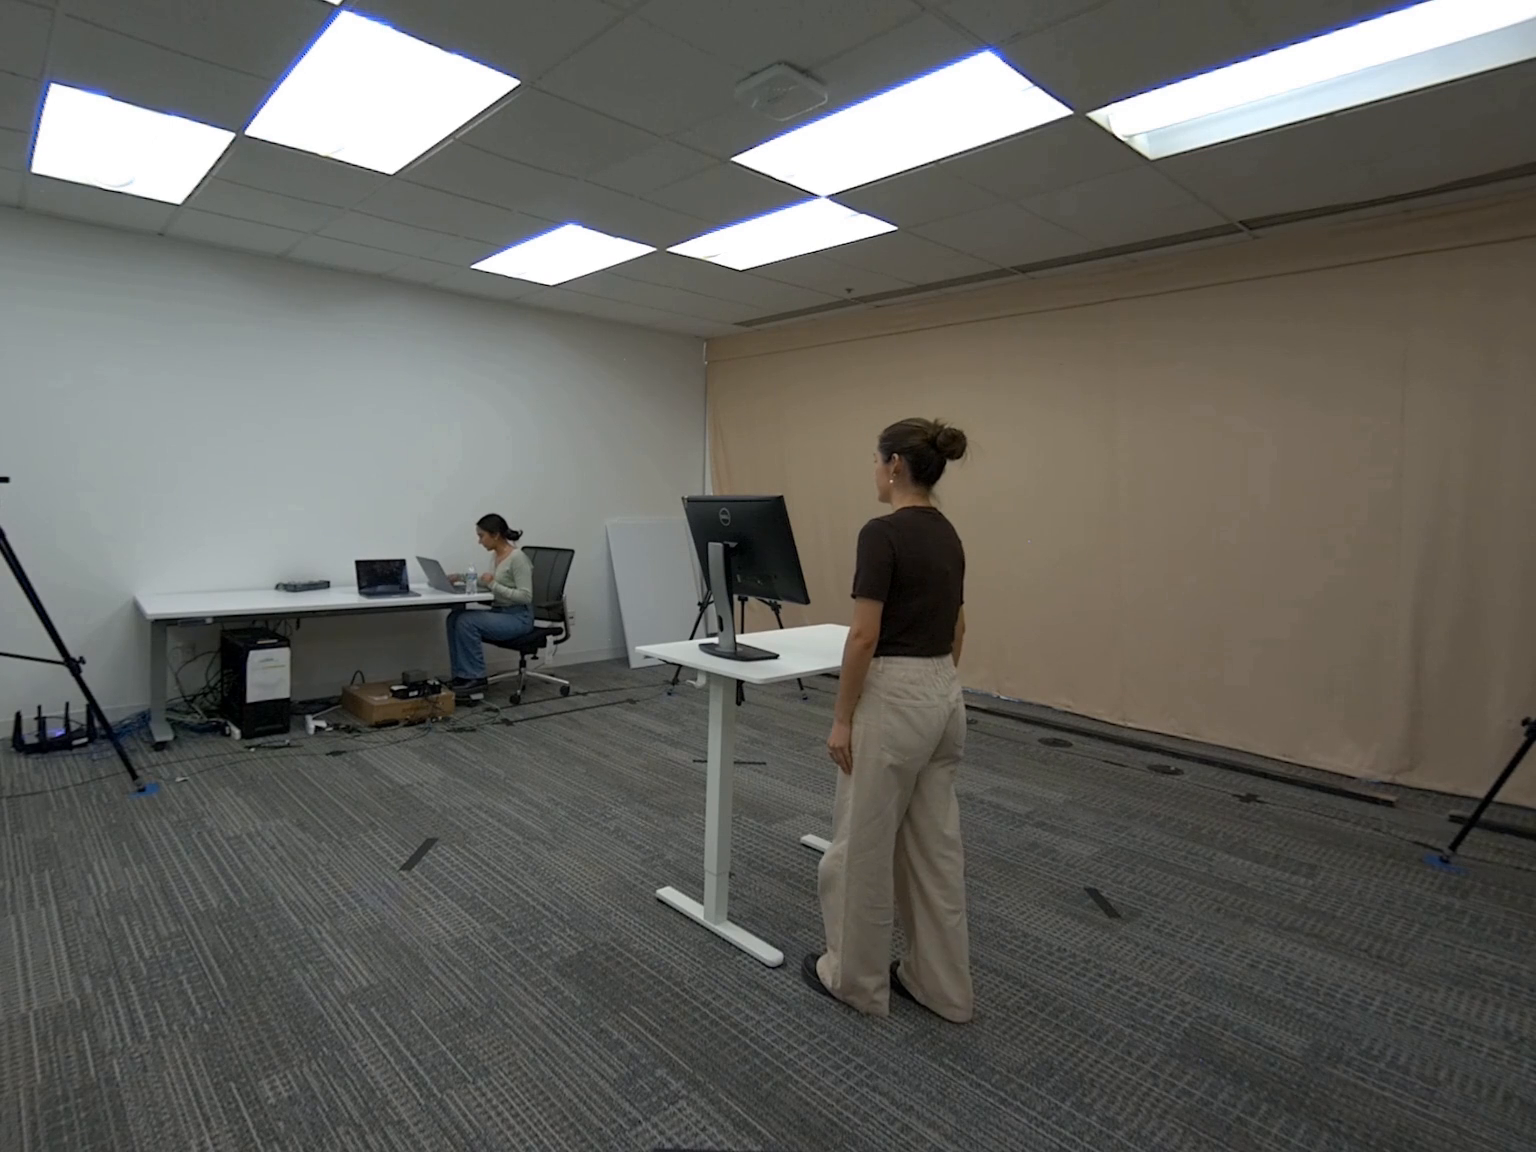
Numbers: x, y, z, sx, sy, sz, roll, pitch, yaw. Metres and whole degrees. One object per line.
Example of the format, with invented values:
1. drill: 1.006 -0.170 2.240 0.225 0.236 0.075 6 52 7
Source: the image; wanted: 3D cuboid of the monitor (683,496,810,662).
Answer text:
1. monitor: -0.113 0.001 2.718 0.183 0.520 0.552 -6 7 -39
